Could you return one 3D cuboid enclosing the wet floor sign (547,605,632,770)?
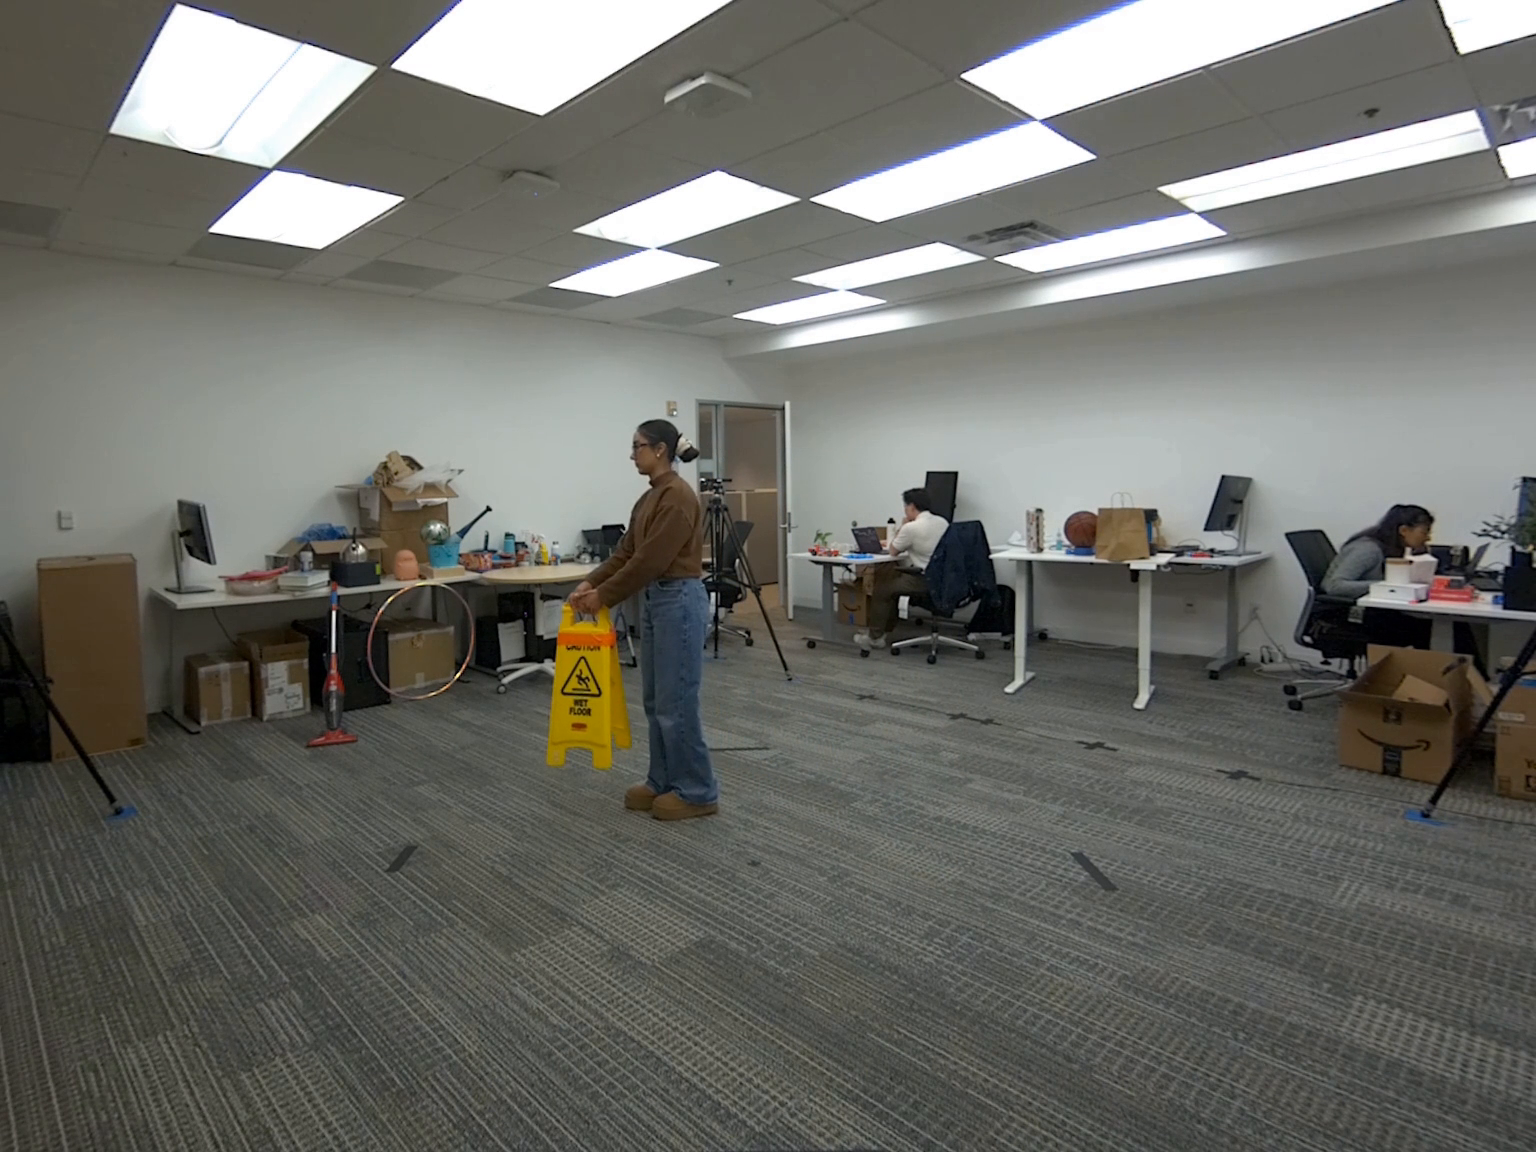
[{"bbox_3d":[-0.753,0.436,3.549,0.285,0.643,0.288,1,5,10],"label":"wet floor sign"}]
